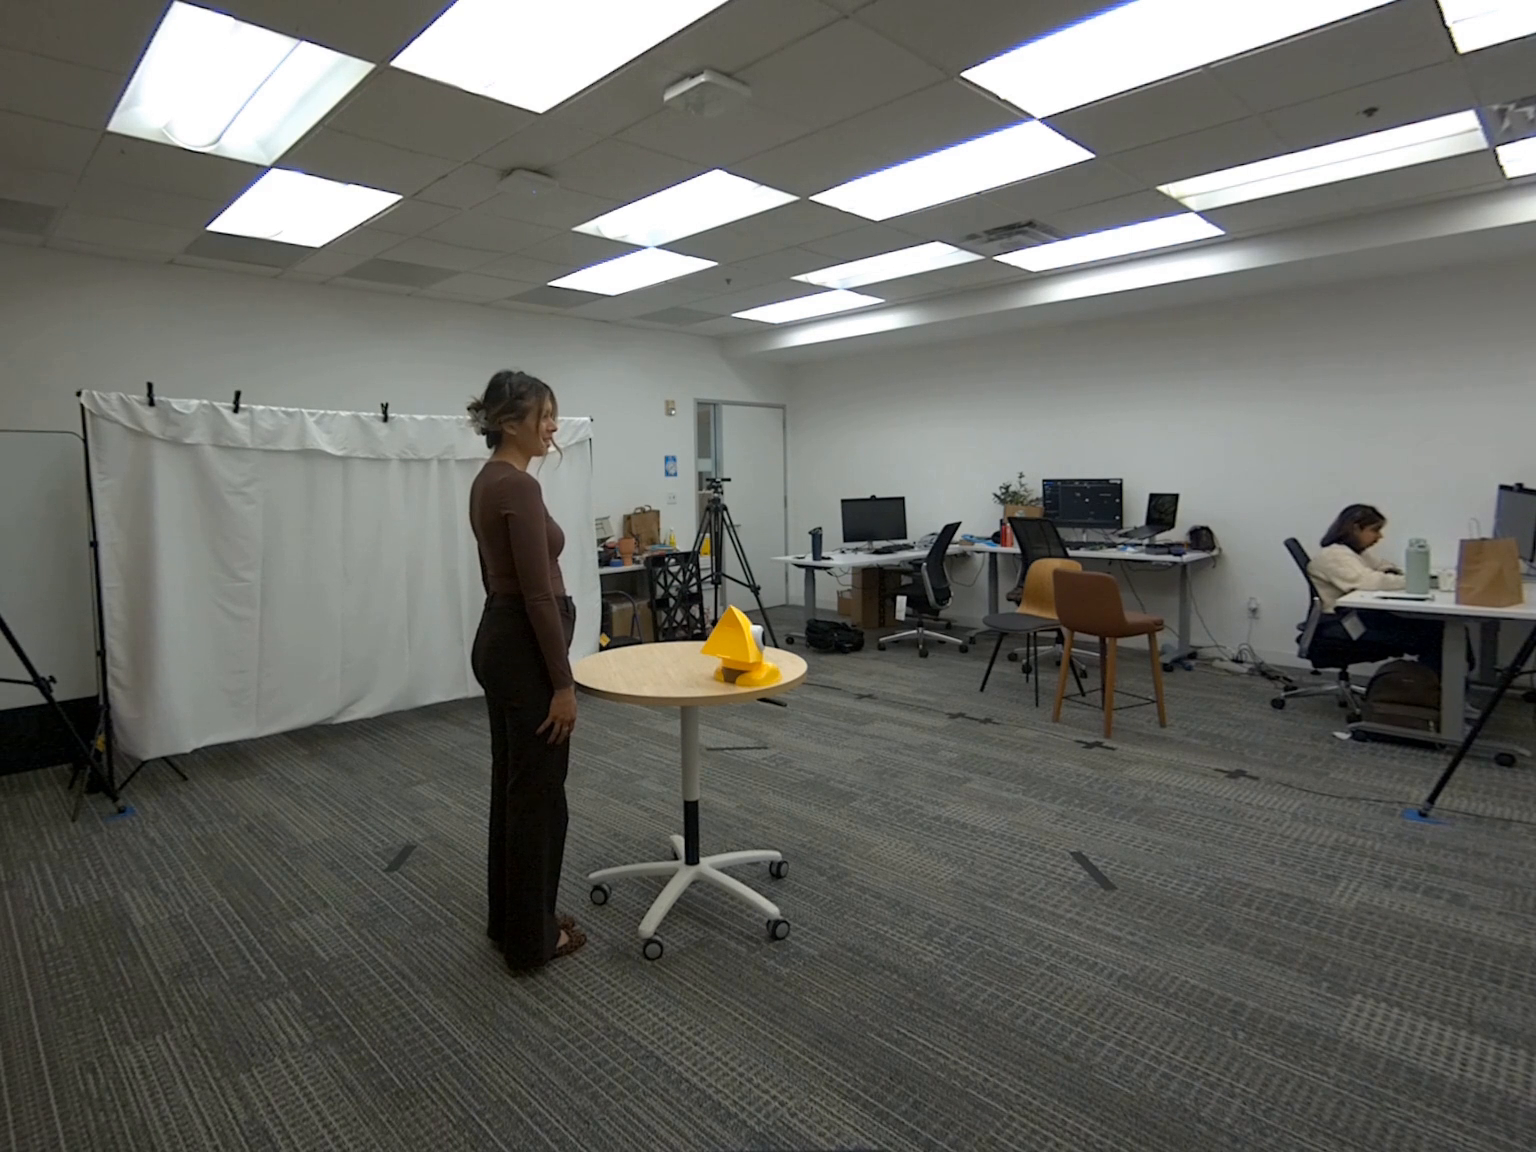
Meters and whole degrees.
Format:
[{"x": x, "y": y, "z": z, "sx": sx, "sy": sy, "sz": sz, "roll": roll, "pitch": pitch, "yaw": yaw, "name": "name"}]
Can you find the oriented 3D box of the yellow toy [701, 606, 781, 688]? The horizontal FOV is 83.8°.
[{"x": -0.071, "y": 0.193, "z": 2.570, "sx": 0.211, "sy": 0.230, "sz": 0.188, "roll": 4, "pitch": 6, "yaw": 41, "name": "yellow toy"}]
